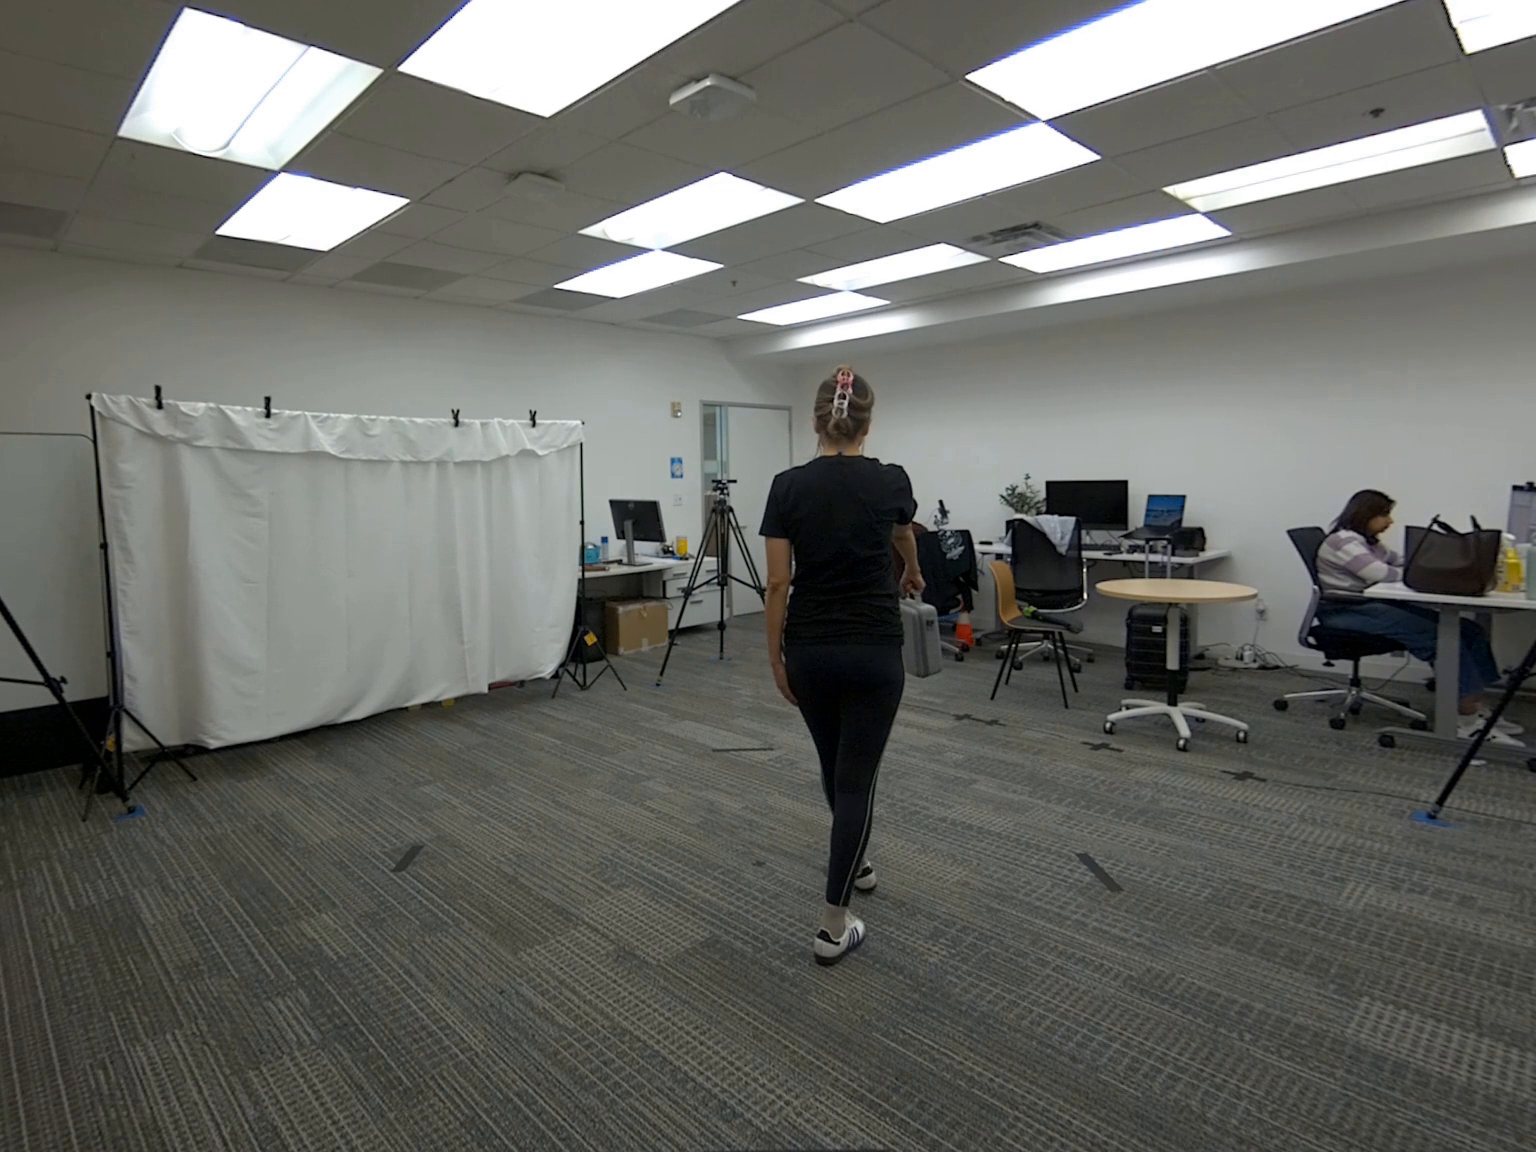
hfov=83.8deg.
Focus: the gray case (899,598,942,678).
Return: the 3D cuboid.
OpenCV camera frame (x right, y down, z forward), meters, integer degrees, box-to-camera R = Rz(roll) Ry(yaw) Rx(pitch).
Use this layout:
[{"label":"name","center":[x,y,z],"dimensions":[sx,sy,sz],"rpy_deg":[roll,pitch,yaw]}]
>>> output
[{"label":"gray case","center":[0.530,0.213,3.100],"dimensions":[0.103,0.259,0.261],"rpy_deg":[-7,8,-13]}]
